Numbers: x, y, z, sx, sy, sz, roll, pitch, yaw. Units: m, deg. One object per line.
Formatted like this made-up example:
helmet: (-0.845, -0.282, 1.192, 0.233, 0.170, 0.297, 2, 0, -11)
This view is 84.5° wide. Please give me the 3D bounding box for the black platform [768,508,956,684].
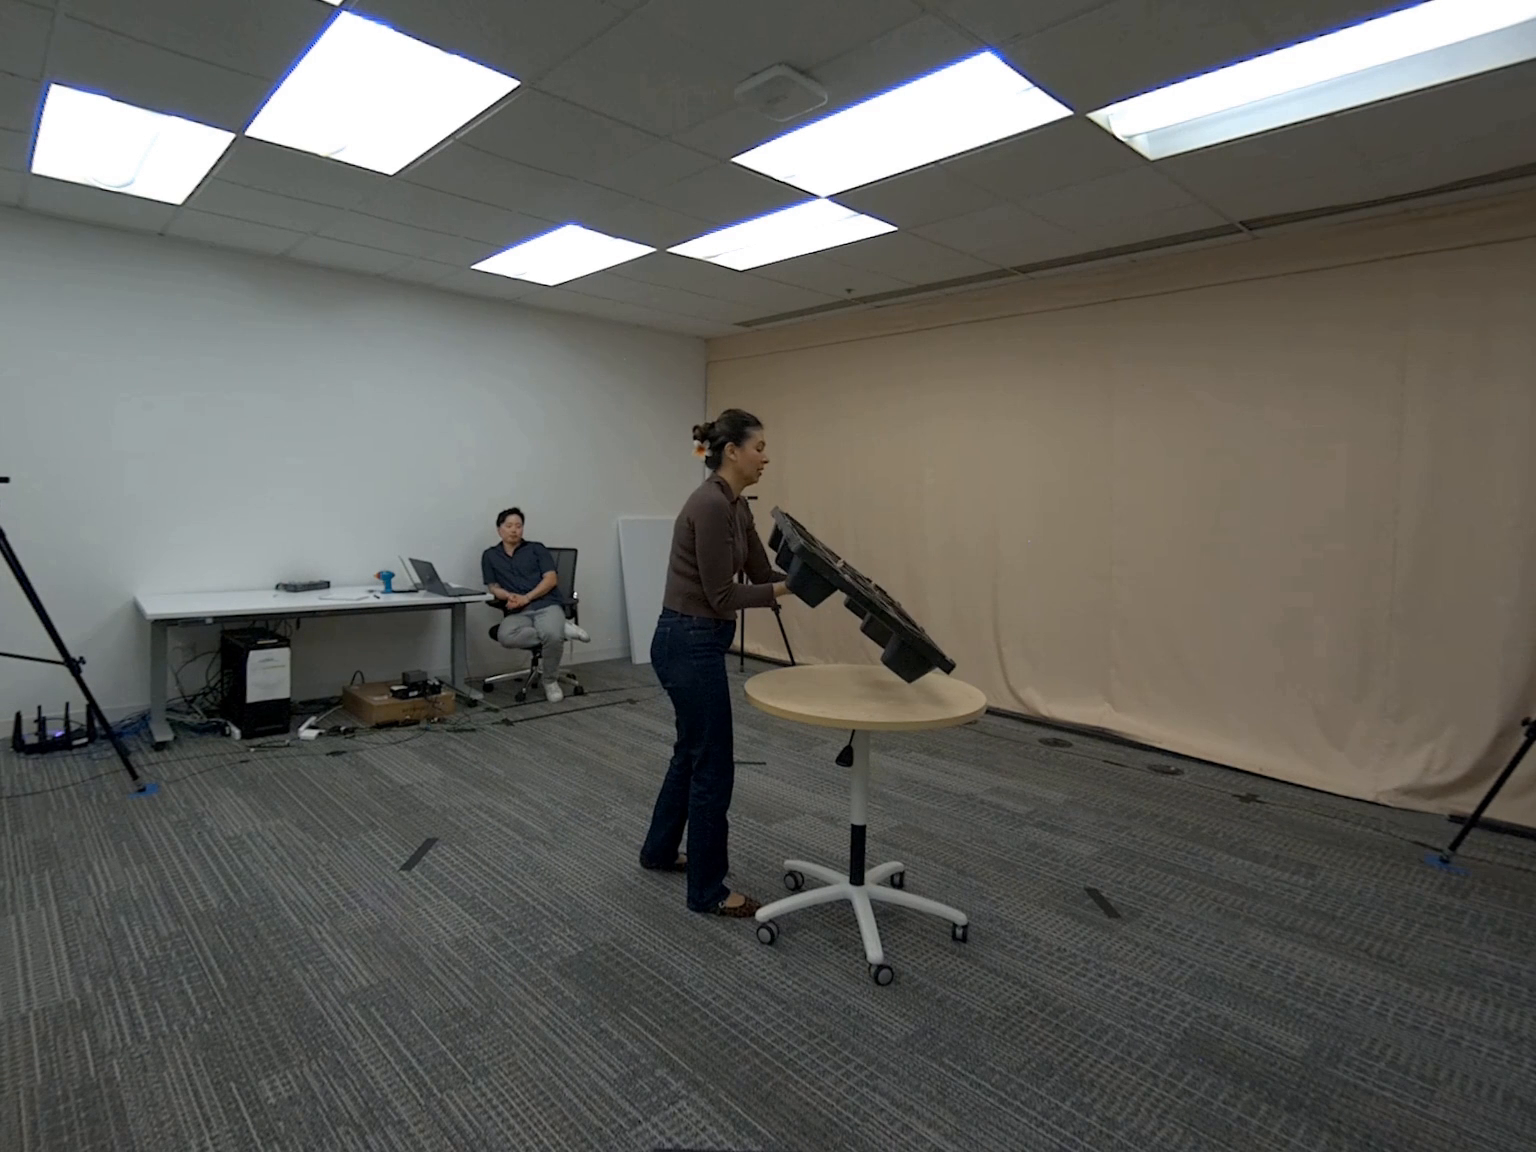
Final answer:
black platform: (0.241, 0.052, 2.796, 0.600, 0.143, 0.813, 40, 7, -10)
